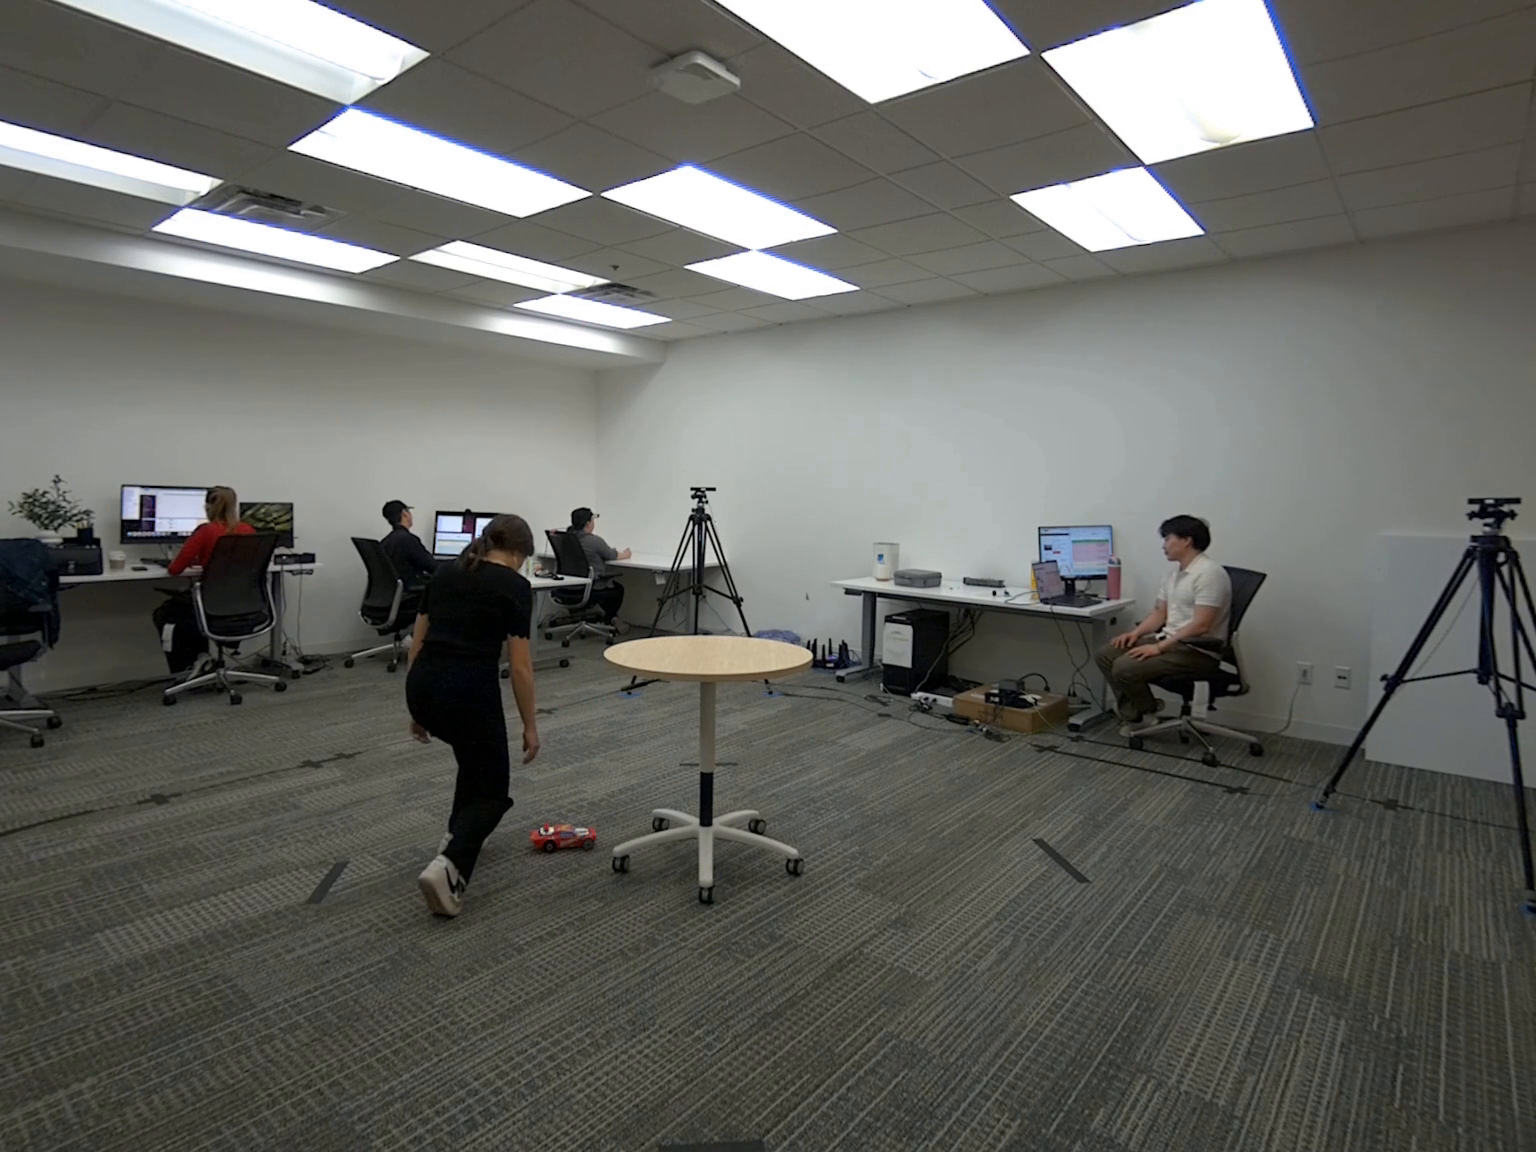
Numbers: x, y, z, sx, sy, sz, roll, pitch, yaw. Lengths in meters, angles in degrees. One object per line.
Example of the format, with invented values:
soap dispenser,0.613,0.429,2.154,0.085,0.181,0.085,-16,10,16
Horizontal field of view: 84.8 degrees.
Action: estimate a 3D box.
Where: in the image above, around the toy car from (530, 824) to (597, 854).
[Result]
toy car,-0.809,1.012,3.278,0.250,0.083,0.133,12,1,-15
